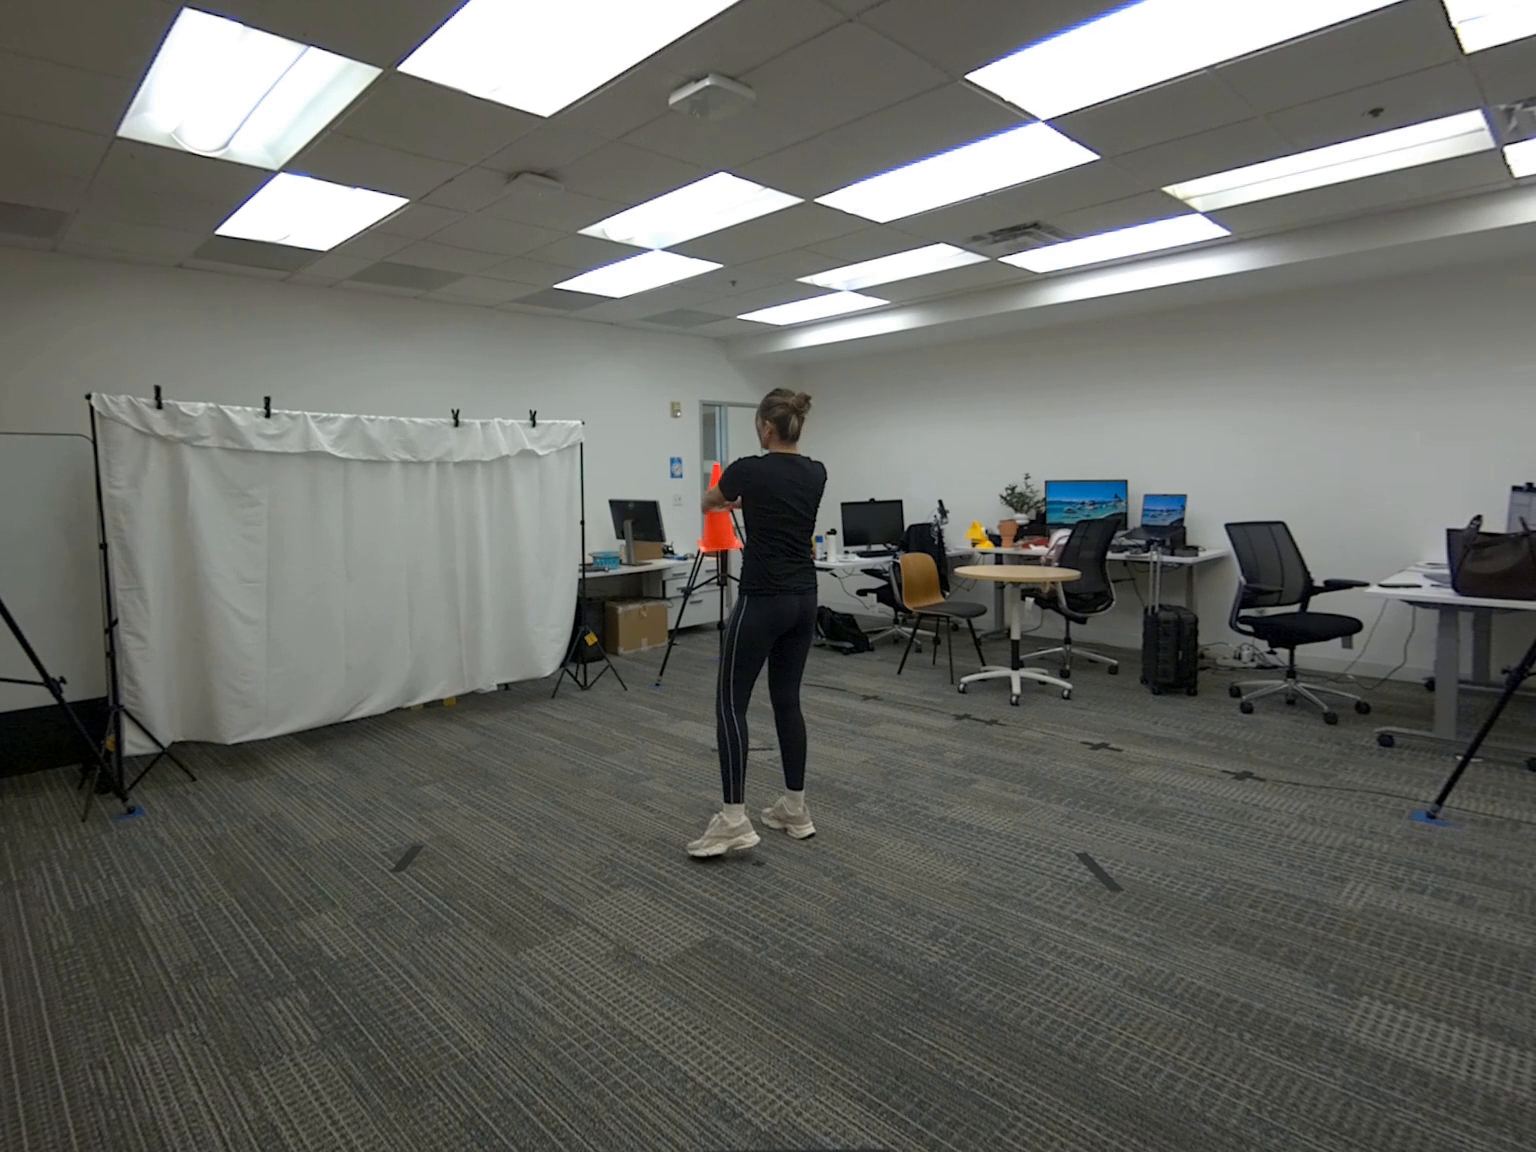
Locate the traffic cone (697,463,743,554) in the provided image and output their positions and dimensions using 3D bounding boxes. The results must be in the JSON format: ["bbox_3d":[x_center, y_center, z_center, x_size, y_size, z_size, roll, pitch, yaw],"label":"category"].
[{"bbox_3d":[-0.224,-0.327,3.905,0.205,0.378,0.206,1,17,8],"label":"traffic cone"}]
